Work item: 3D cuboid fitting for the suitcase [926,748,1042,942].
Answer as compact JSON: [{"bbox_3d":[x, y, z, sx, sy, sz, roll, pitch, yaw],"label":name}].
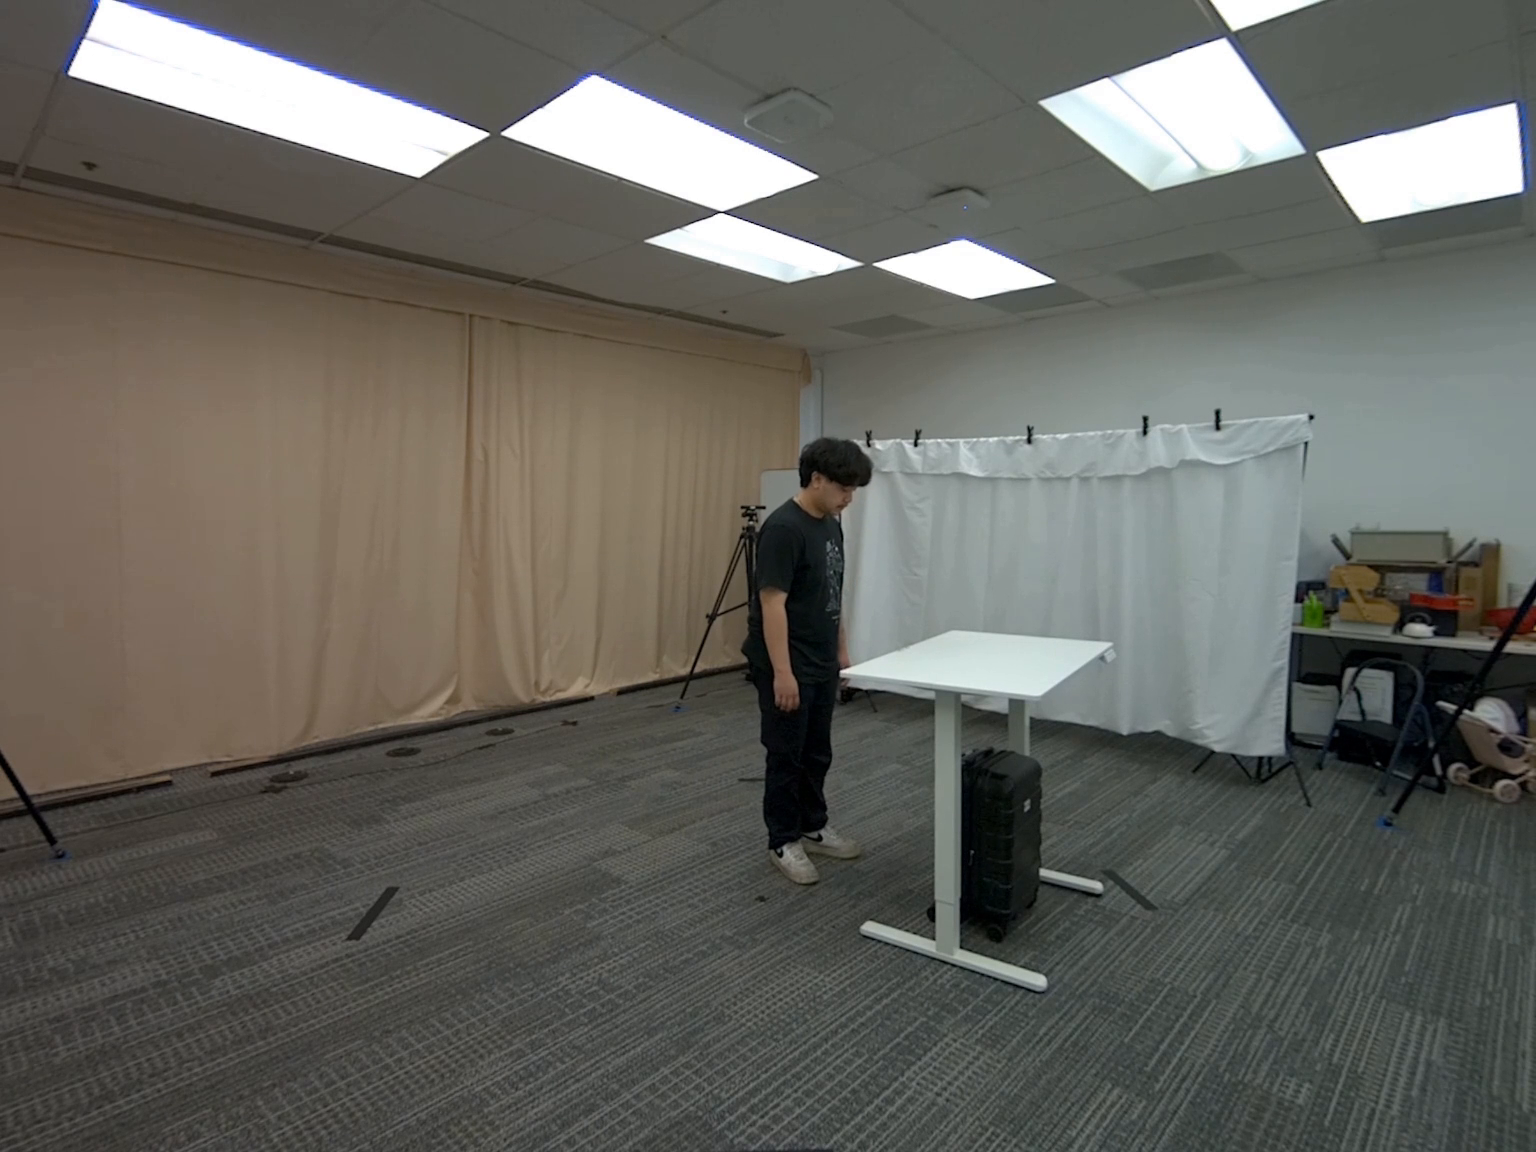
[{"bbox_3d":[0.761,0.879,2.852,0.256,0.548,0.364,5,5,36],"label":"suitcase"}]
